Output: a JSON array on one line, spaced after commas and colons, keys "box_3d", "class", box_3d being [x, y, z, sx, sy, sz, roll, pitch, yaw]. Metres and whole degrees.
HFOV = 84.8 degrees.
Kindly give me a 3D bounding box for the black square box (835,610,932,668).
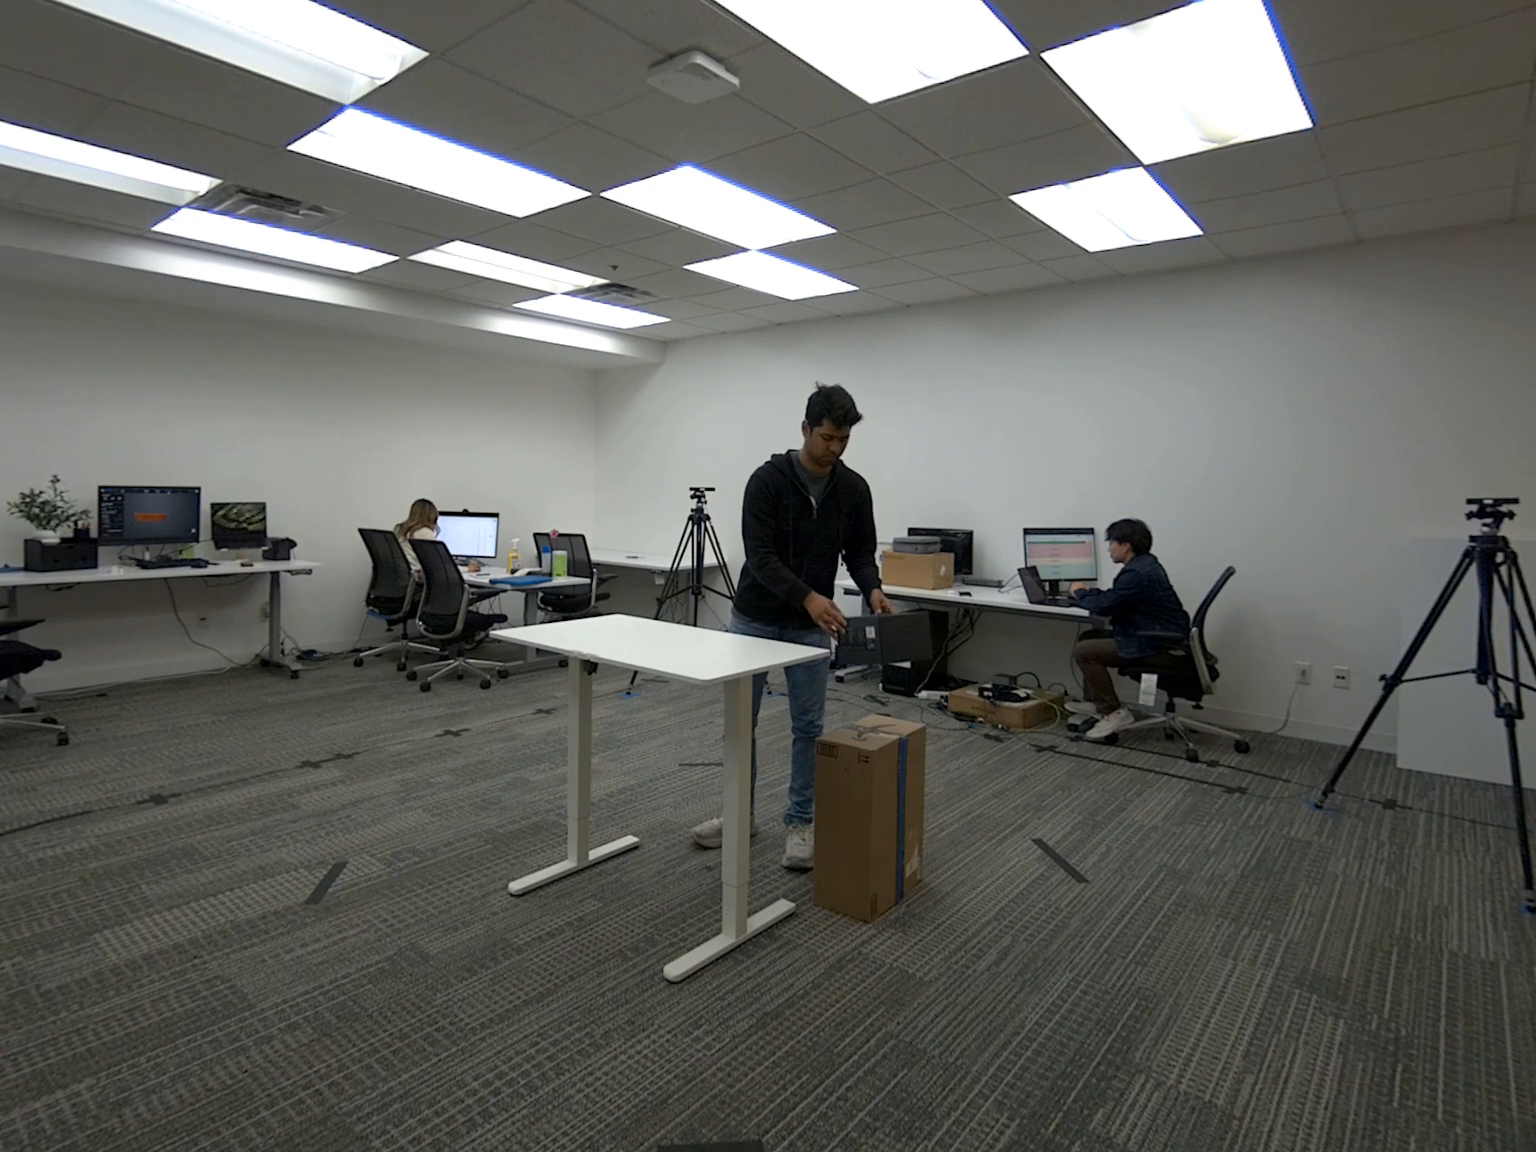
[{"box_3d": [0.363, 0.206, 2.825, 0.221, 0.156, 0.222, -1, -4, -34], "class": "black square box"}]
